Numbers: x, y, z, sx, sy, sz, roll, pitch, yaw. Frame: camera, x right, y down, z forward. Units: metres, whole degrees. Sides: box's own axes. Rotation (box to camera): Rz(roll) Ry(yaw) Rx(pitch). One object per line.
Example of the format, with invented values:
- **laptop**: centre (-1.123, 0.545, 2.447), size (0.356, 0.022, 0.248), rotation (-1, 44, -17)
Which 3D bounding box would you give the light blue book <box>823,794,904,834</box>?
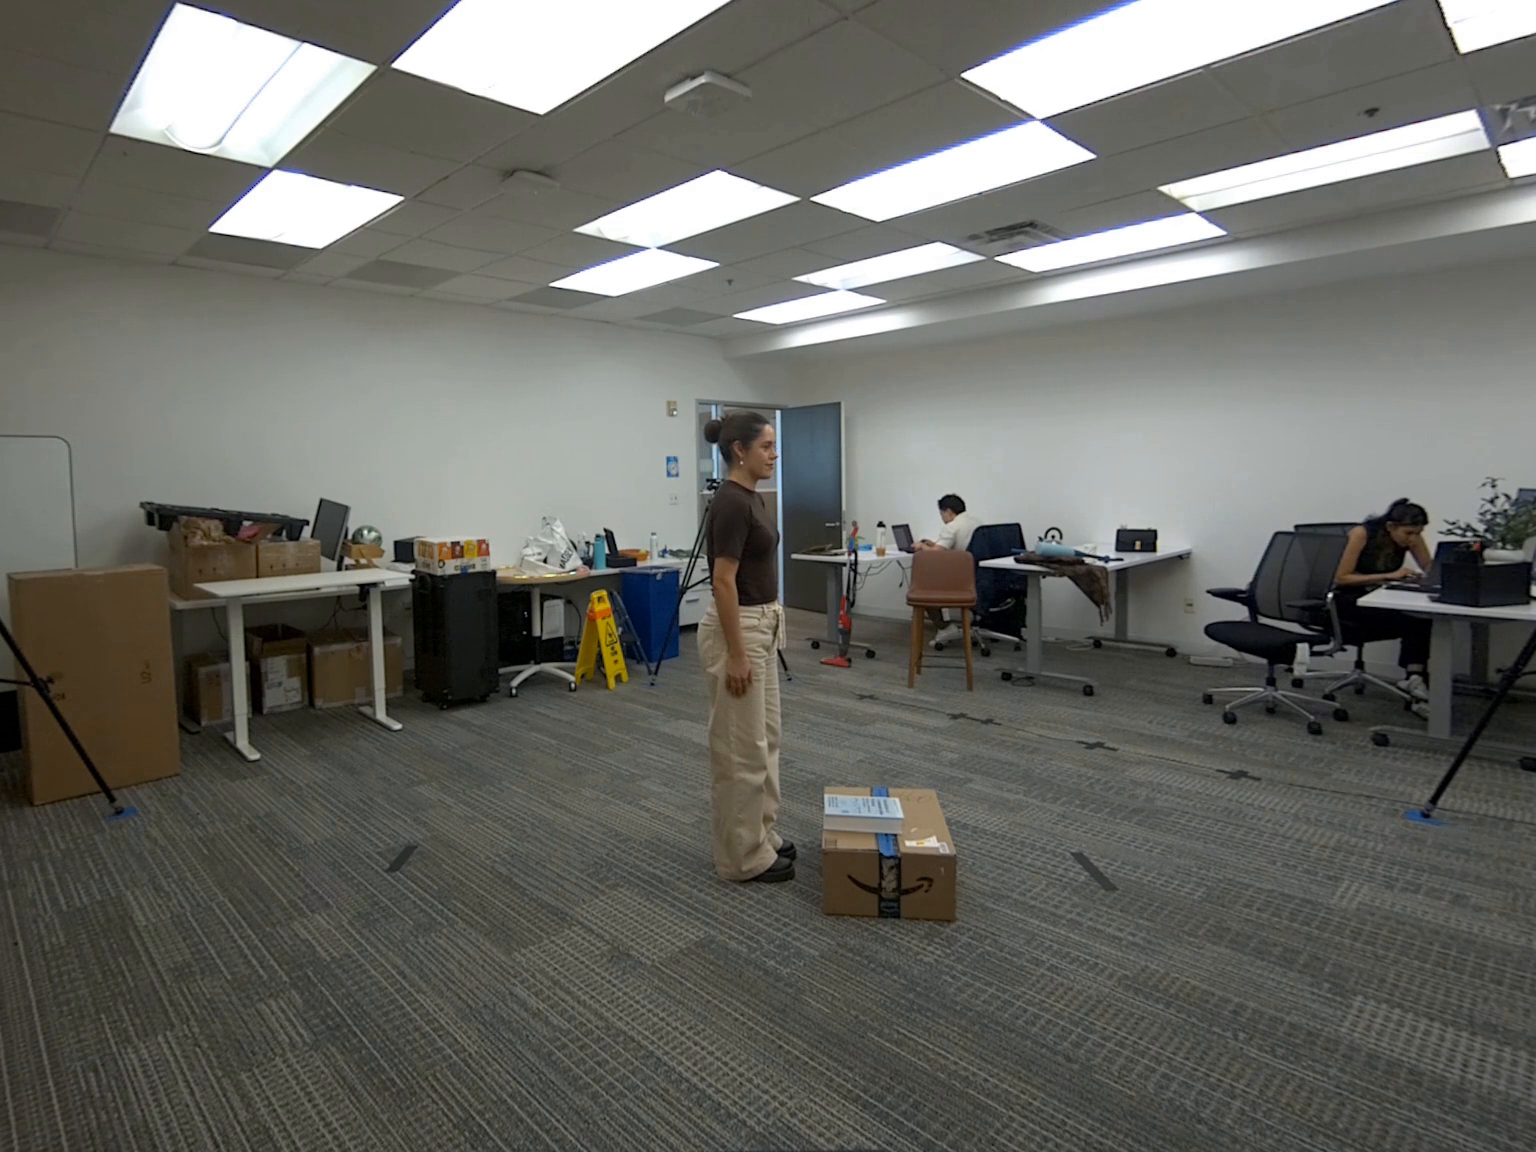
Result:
- **light blue book**: centre (0.325, 0.812, 2.939), size (0.263, 0.059, 0.191), rotation (1, 5, 5)
